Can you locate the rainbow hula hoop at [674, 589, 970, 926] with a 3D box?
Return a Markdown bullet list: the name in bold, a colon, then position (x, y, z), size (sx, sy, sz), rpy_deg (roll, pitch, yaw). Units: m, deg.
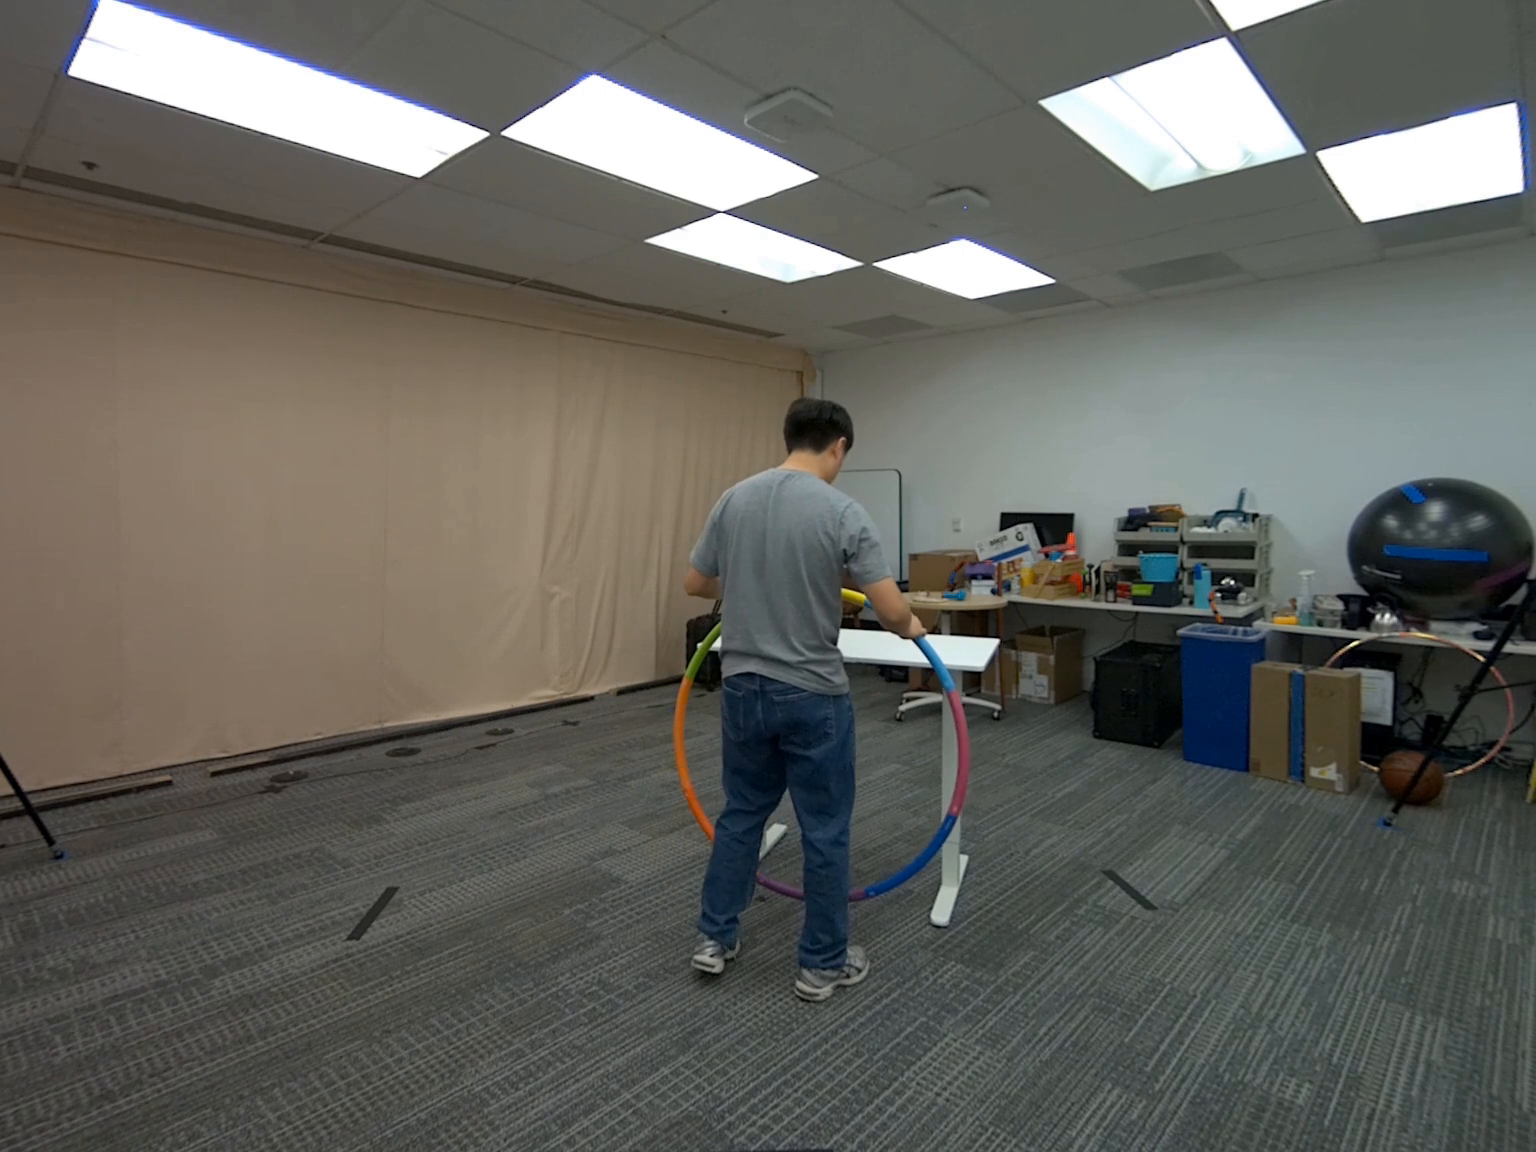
- **rainbow hula hoop**: position (0.136, 0.527, 2.688), size (1.003, 0.981, 0.034), rpy_deg (2, -4, 25)
